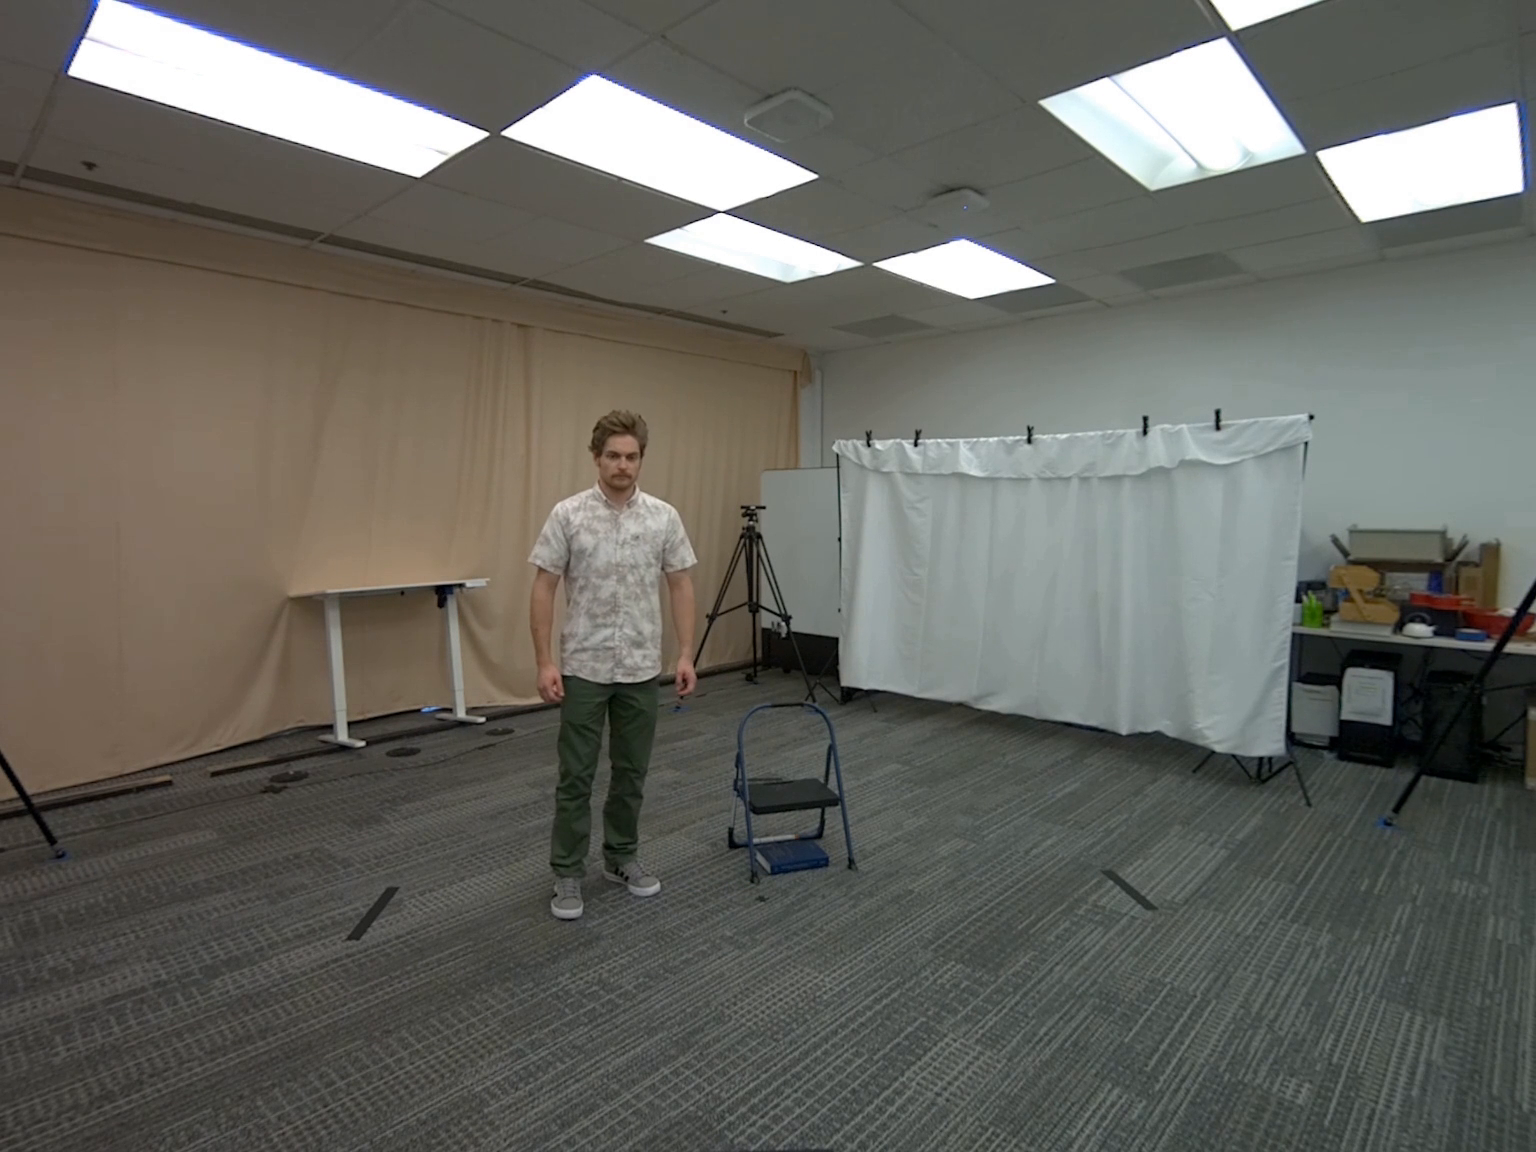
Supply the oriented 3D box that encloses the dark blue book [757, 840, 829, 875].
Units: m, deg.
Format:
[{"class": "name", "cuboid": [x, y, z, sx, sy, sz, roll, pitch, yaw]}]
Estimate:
[{"class": "dark blue book", "cuboid": [0.098, 1.093, 3.282, 0.240, 0.045, 0.167, -4, 6, -19]}]
